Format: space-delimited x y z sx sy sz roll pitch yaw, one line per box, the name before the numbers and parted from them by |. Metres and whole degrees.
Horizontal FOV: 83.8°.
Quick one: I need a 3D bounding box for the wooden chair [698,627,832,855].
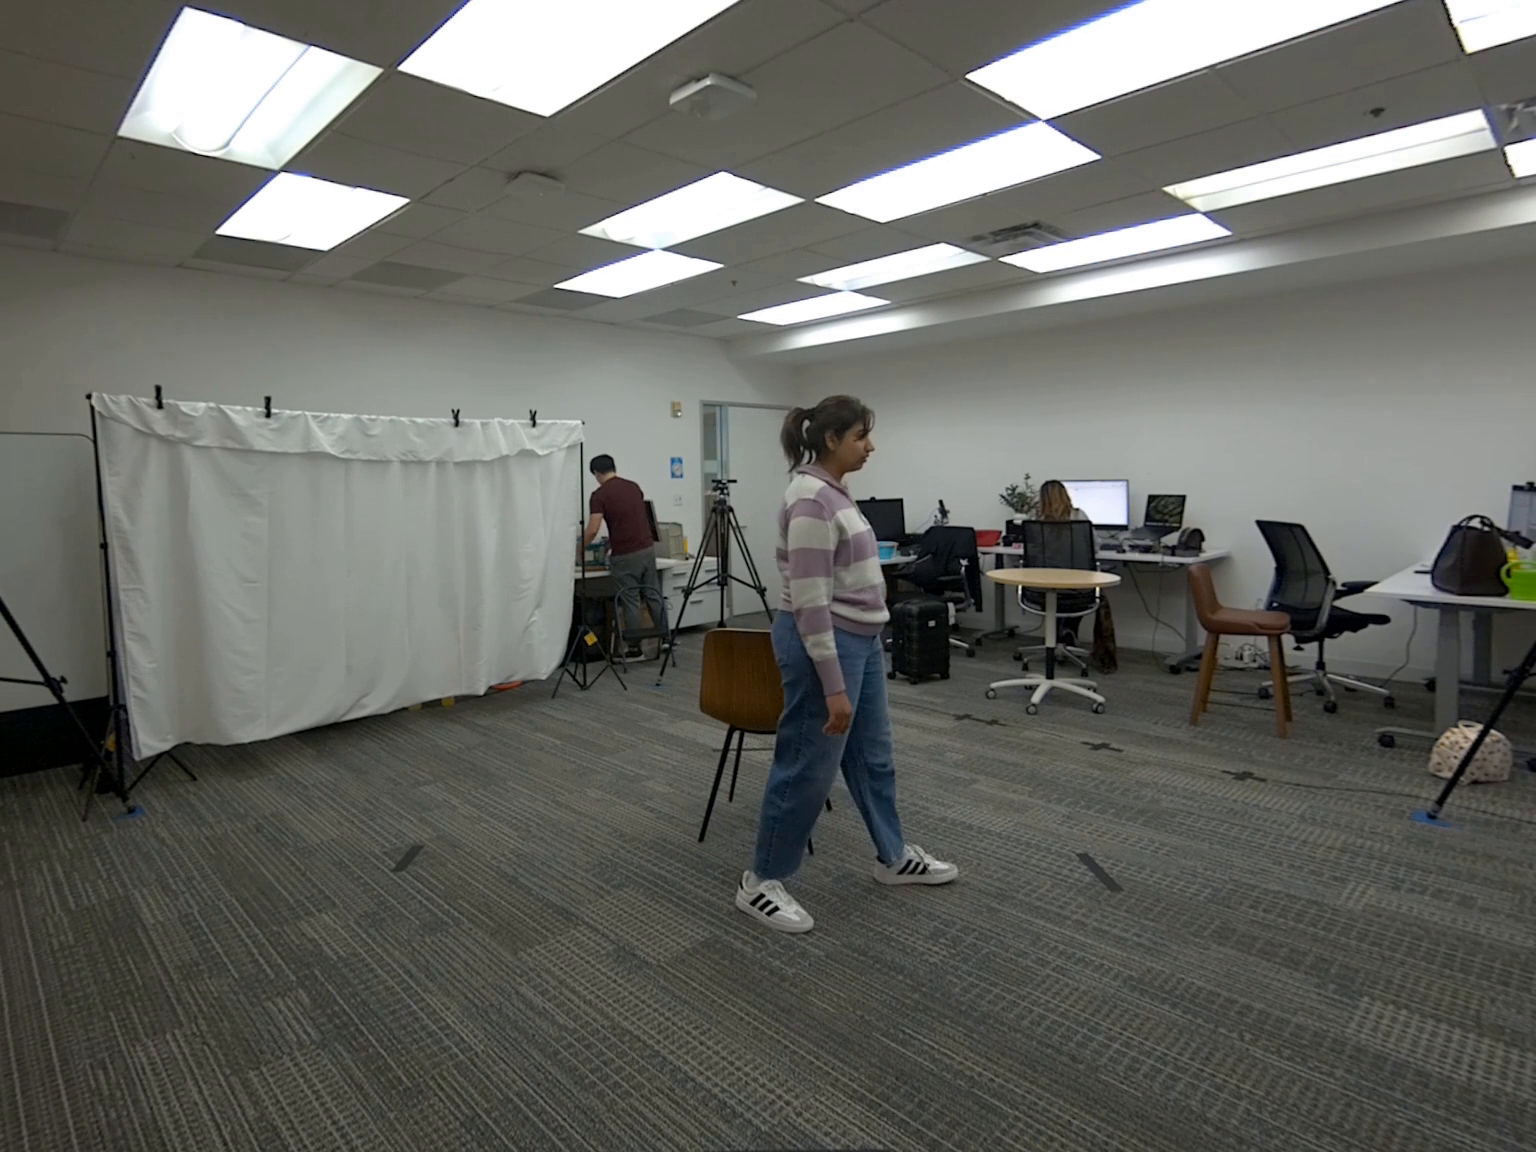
wooden chair | -0.005 0.584 3.431 0.485 0.871 0.519 0 8 15
